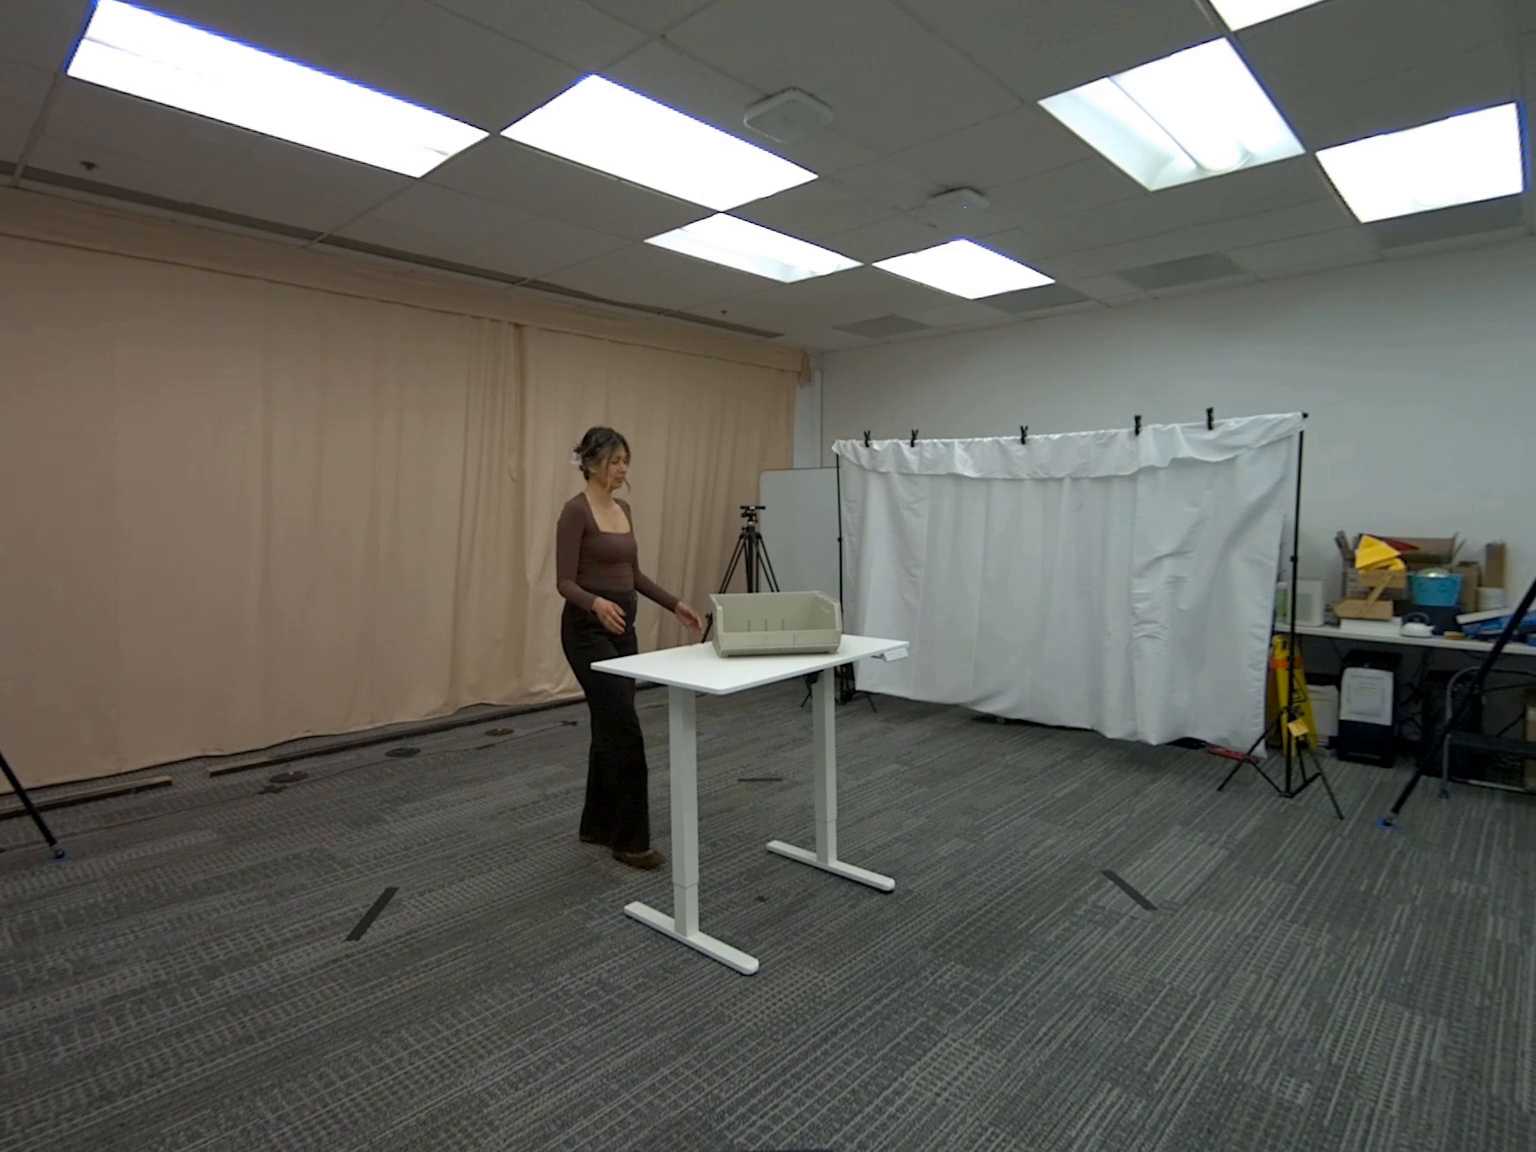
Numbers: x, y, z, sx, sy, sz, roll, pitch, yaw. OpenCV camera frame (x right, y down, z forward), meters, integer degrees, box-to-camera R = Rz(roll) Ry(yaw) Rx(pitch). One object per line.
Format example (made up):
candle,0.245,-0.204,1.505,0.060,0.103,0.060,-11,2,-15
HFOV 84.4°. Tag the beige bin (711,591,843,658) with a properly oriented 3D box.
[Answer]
beige bin,0.017,0.173,2.981,0.420,0.188,0.380,-2,3,-5
